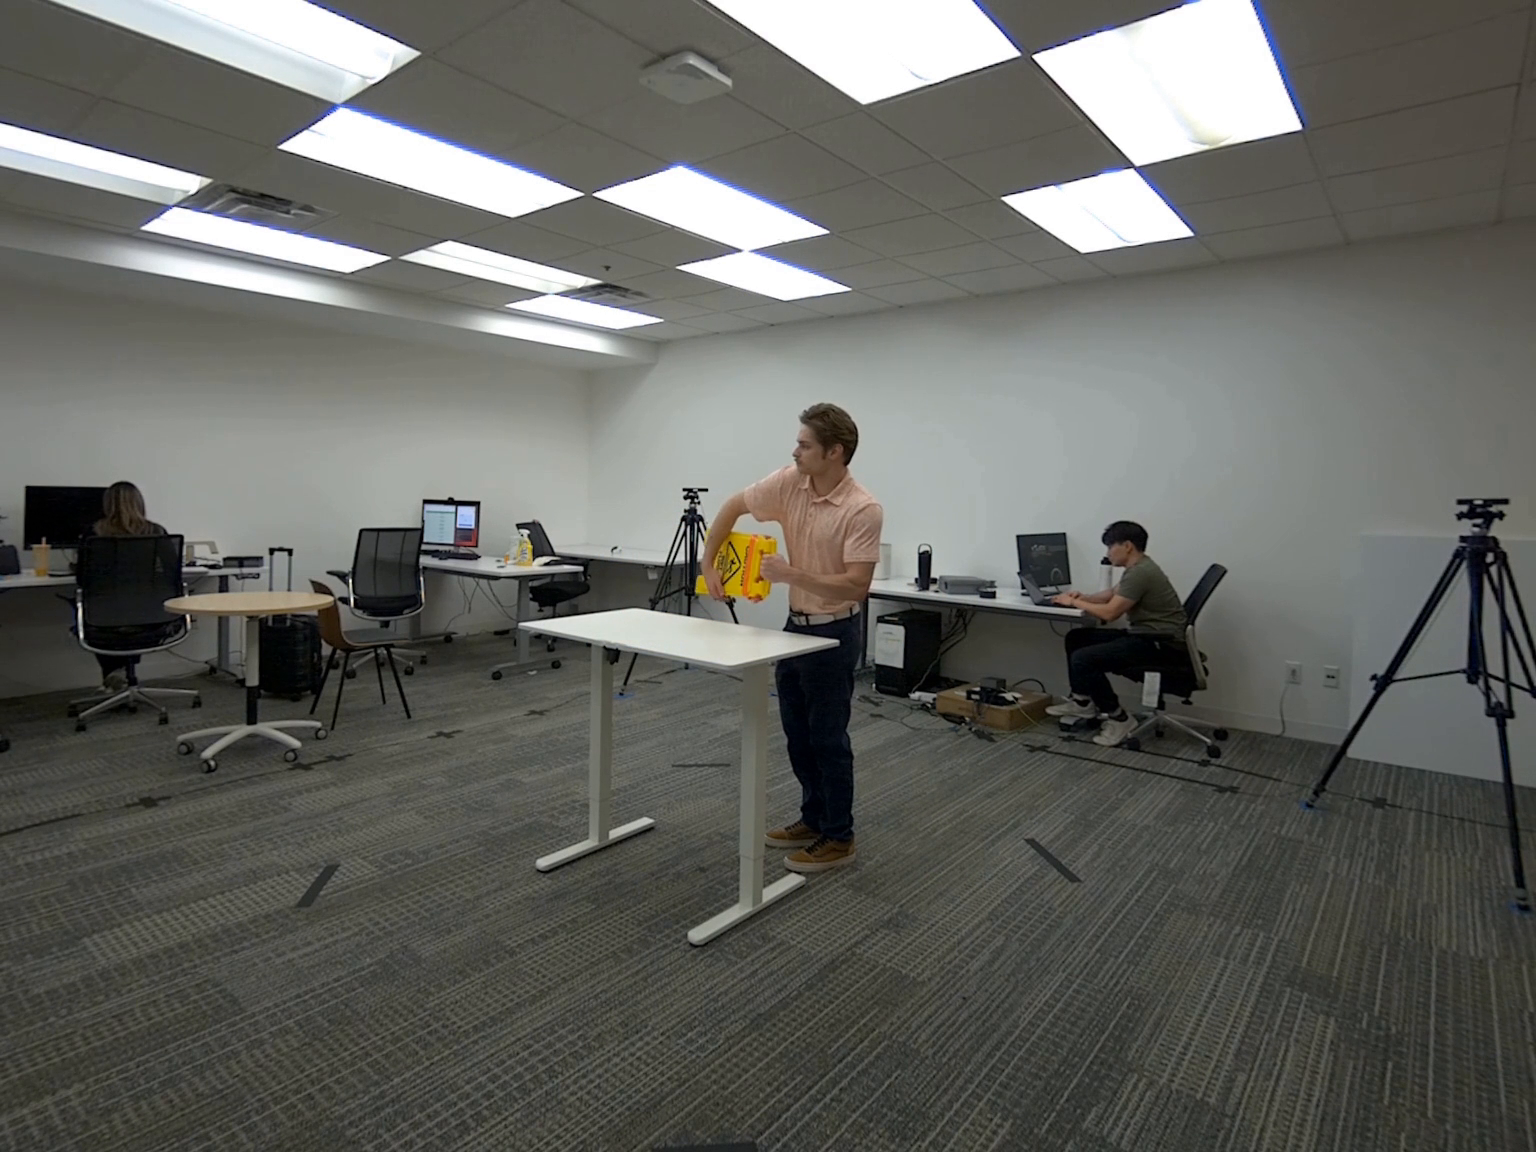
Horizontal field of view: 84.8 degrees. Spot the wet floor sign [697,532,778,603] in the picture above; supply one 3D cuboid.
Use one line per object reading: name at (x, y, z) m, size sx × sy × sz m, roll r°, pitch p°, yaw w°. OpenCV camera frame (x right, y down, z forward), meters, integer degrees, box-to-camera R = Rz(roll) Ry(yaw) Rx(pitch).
wet floor sign at (-0.091, -0.028, 3.290) m, size 0.286 × 0.283 × 0.652 m, roll 9°, pitch -3°, yaw -11°
